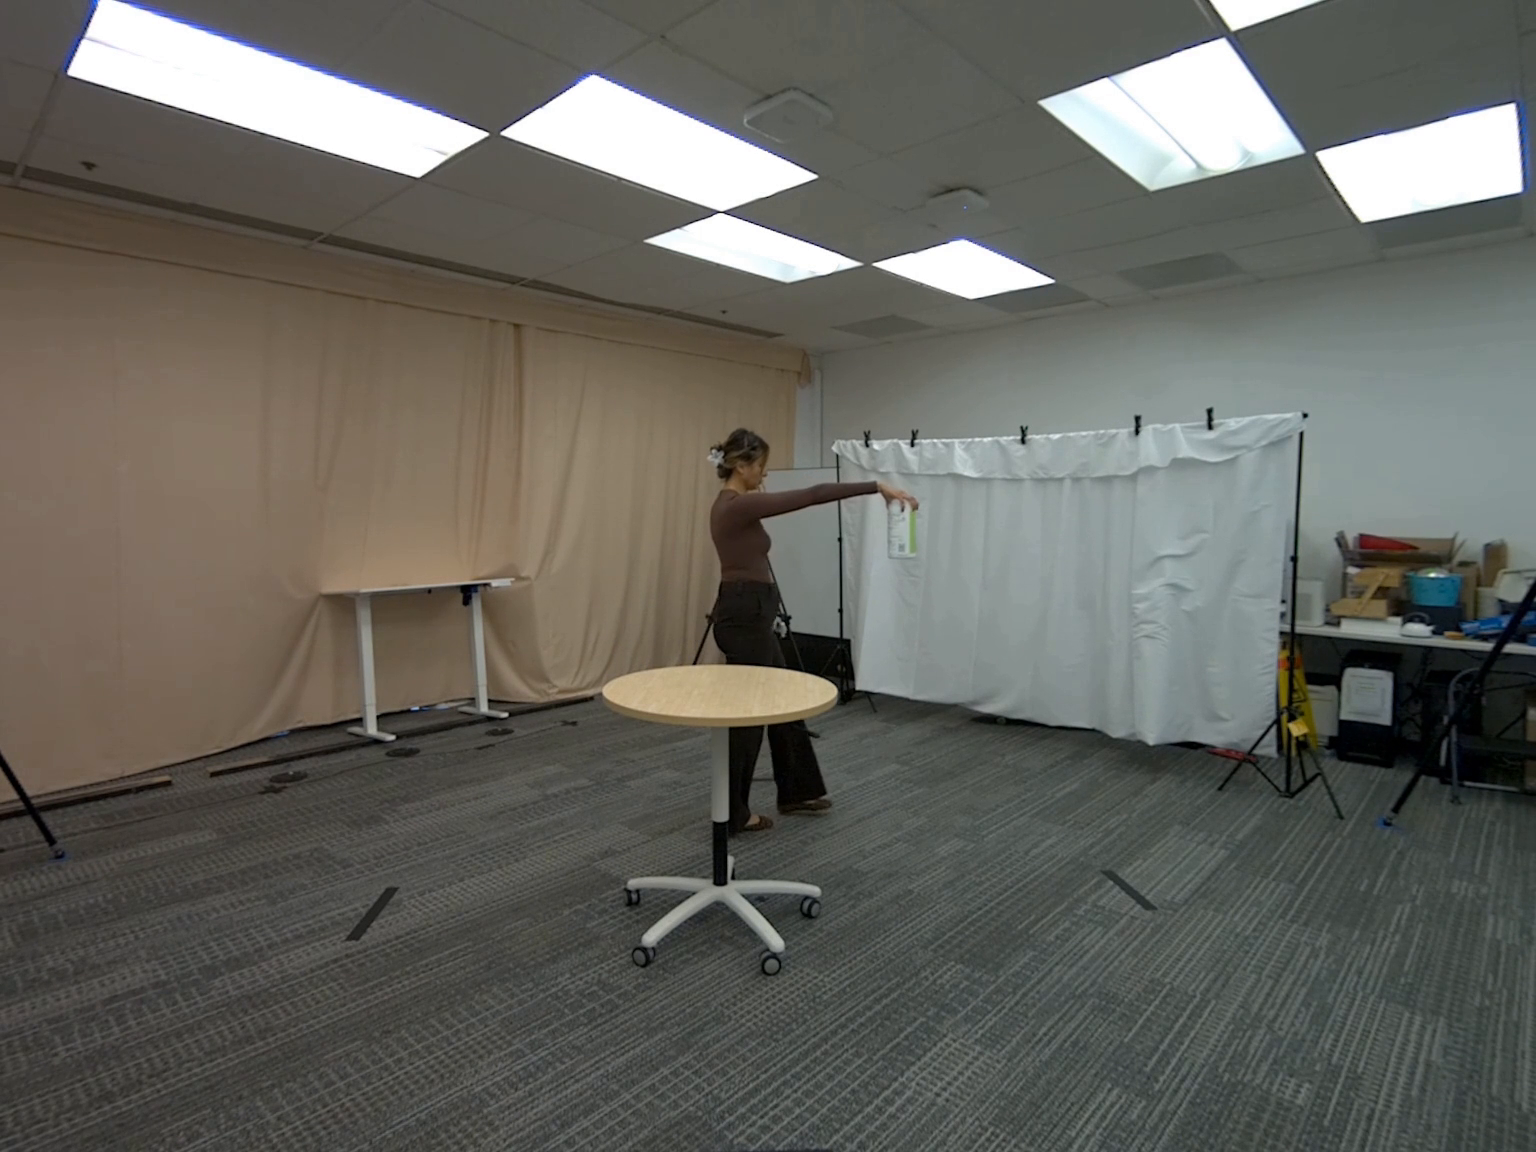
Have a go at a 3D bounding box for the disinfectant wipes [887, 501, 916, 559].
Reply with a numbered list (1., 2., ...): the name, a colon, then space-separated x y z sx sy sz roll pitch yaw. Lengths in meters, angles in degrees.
1. disinfectant wipes: 0.538 -0.177 3.313 0.118 0.217 0.118 0 4 -2
